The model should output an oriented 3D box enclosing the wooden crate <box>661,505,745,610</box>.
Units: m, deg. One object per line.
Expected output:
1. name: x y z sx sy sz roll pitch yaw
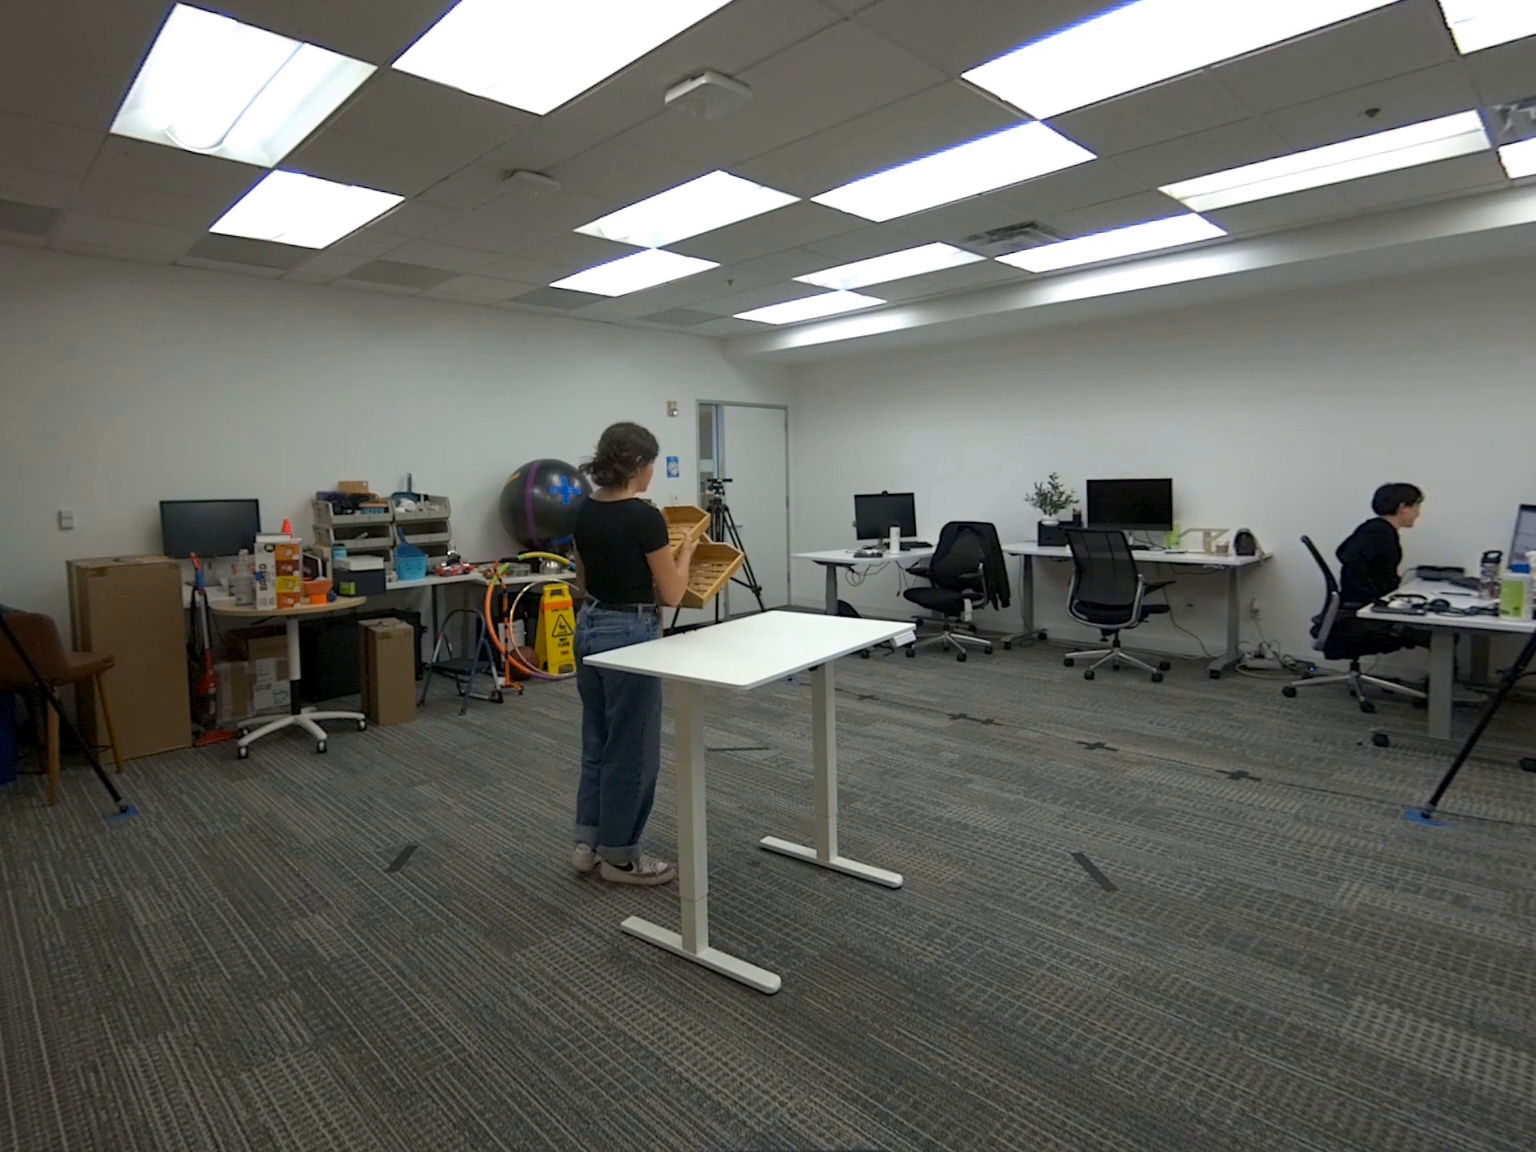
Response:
1. wooden crate: -0.308 -0.080 3.157 0.310 0.266 0.324 0 33 34
